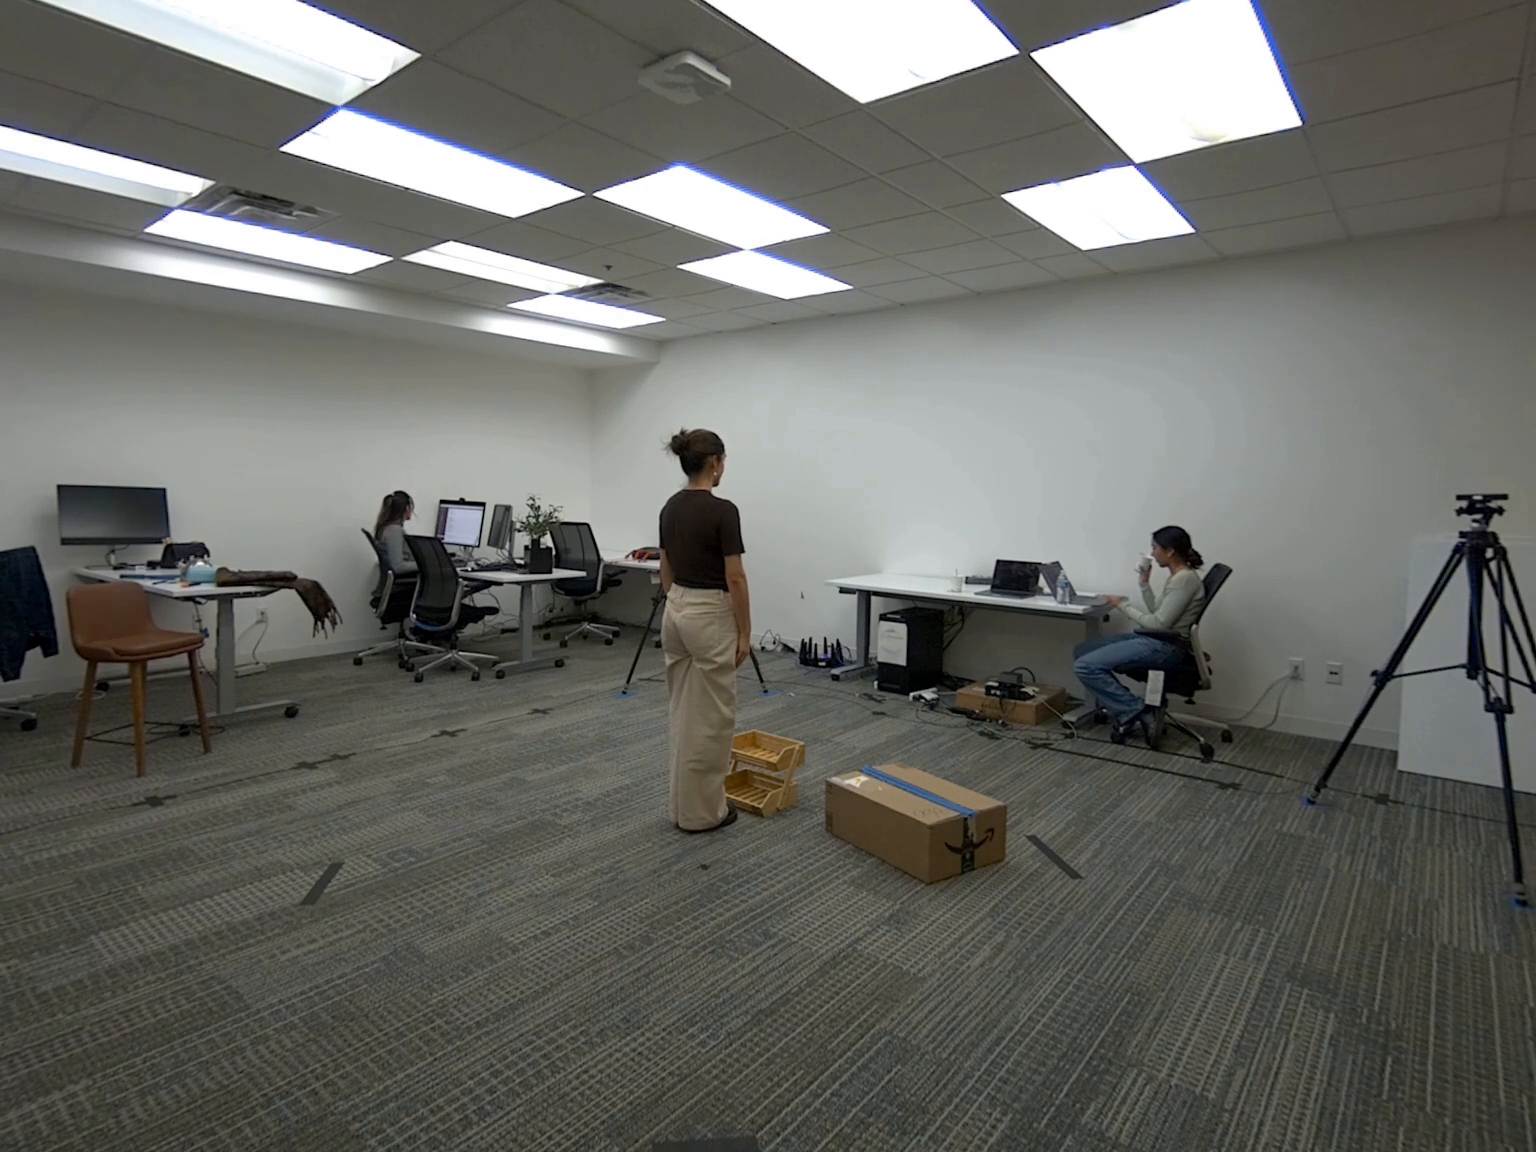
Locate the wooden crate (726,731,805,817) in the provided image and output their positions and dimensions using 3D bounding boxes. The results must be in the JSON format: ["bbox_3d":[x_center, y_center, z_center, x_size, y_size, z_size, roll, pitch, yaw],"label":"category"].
[{"bbox_3d":[-0.061,0.862,3.793,0.335,0.273,0.293,4,5,41],"label":"wooden crate"}]
